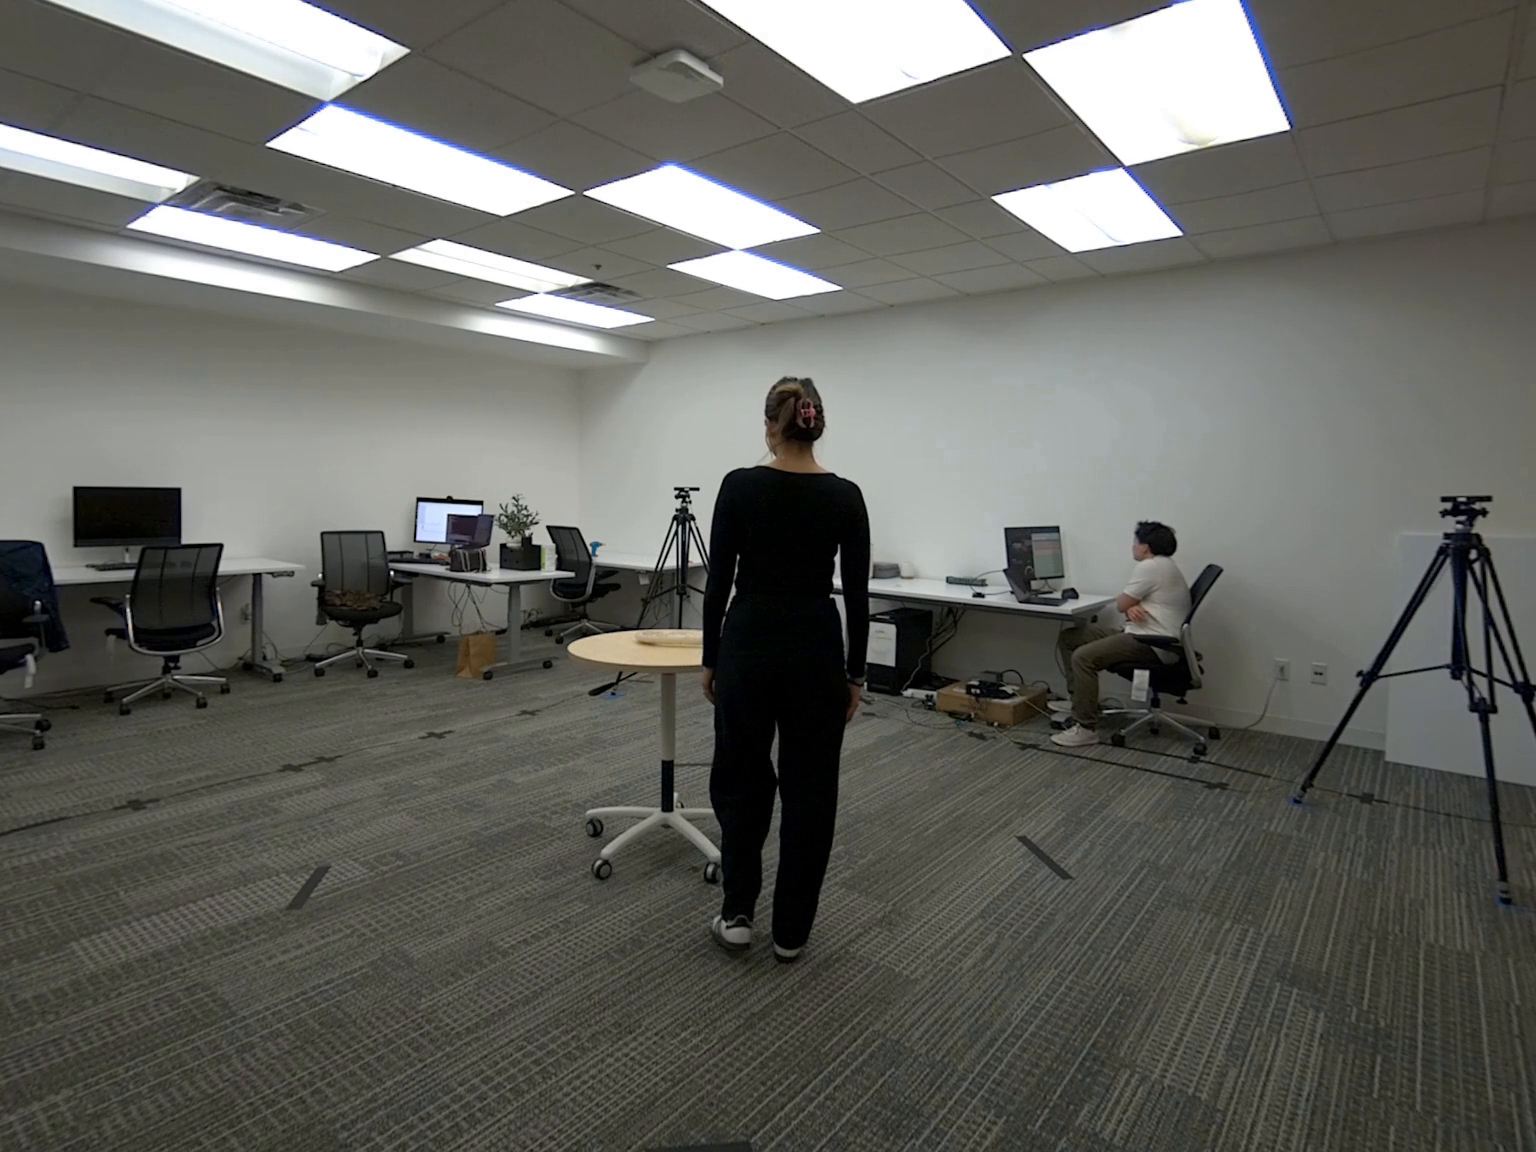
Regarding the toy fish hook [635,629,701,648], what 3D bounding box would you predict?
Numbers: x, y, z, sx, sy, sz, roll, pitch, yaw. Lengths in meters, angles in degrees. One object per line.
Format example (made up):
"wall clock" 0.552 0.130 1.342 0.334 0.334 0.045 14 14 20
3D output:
"toy fish hook" -0.289 0.243 3.318 0.519 0.048 0.220 2 8 23
